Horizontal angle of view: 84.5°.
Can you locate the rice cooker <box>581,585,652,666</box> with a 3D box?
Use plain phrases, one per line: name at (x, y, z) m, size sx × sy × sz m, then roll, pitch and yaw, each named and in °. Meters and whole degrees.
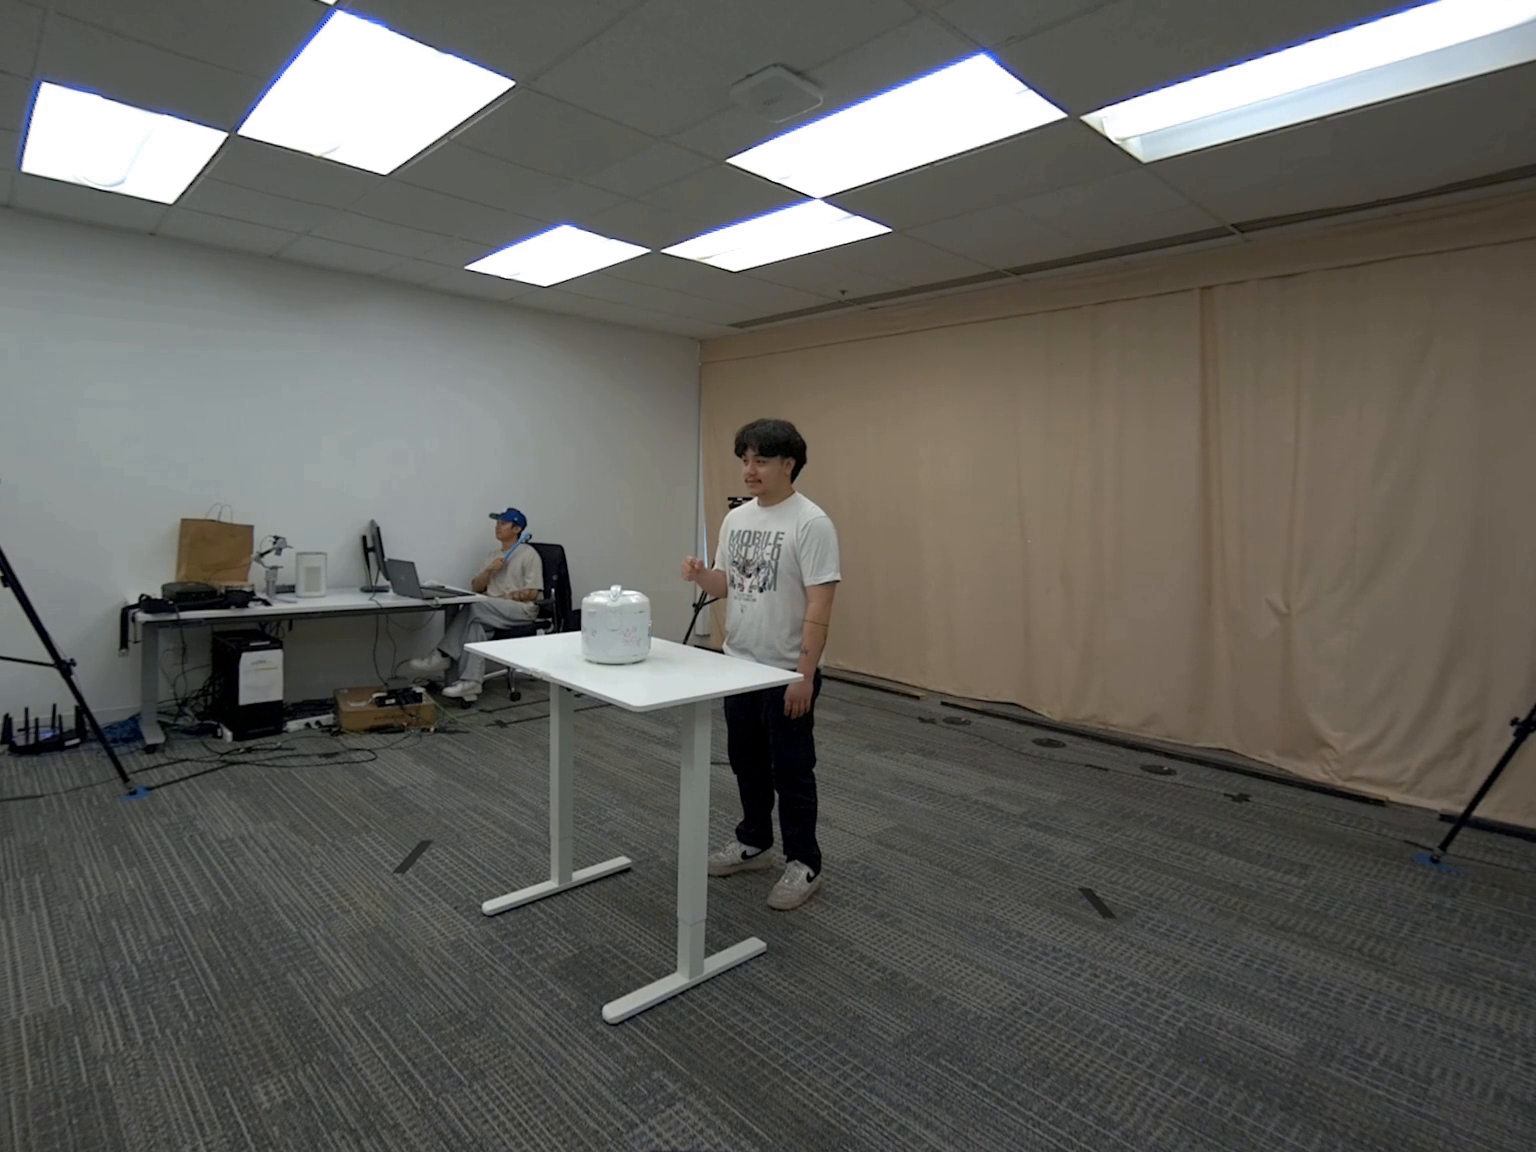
rice cooker at (-0.481, 0.147, 2.609) m, size 0.217 × 0.232 × 0.222 m, roll 1°, pitch 6°, yaw -3°
